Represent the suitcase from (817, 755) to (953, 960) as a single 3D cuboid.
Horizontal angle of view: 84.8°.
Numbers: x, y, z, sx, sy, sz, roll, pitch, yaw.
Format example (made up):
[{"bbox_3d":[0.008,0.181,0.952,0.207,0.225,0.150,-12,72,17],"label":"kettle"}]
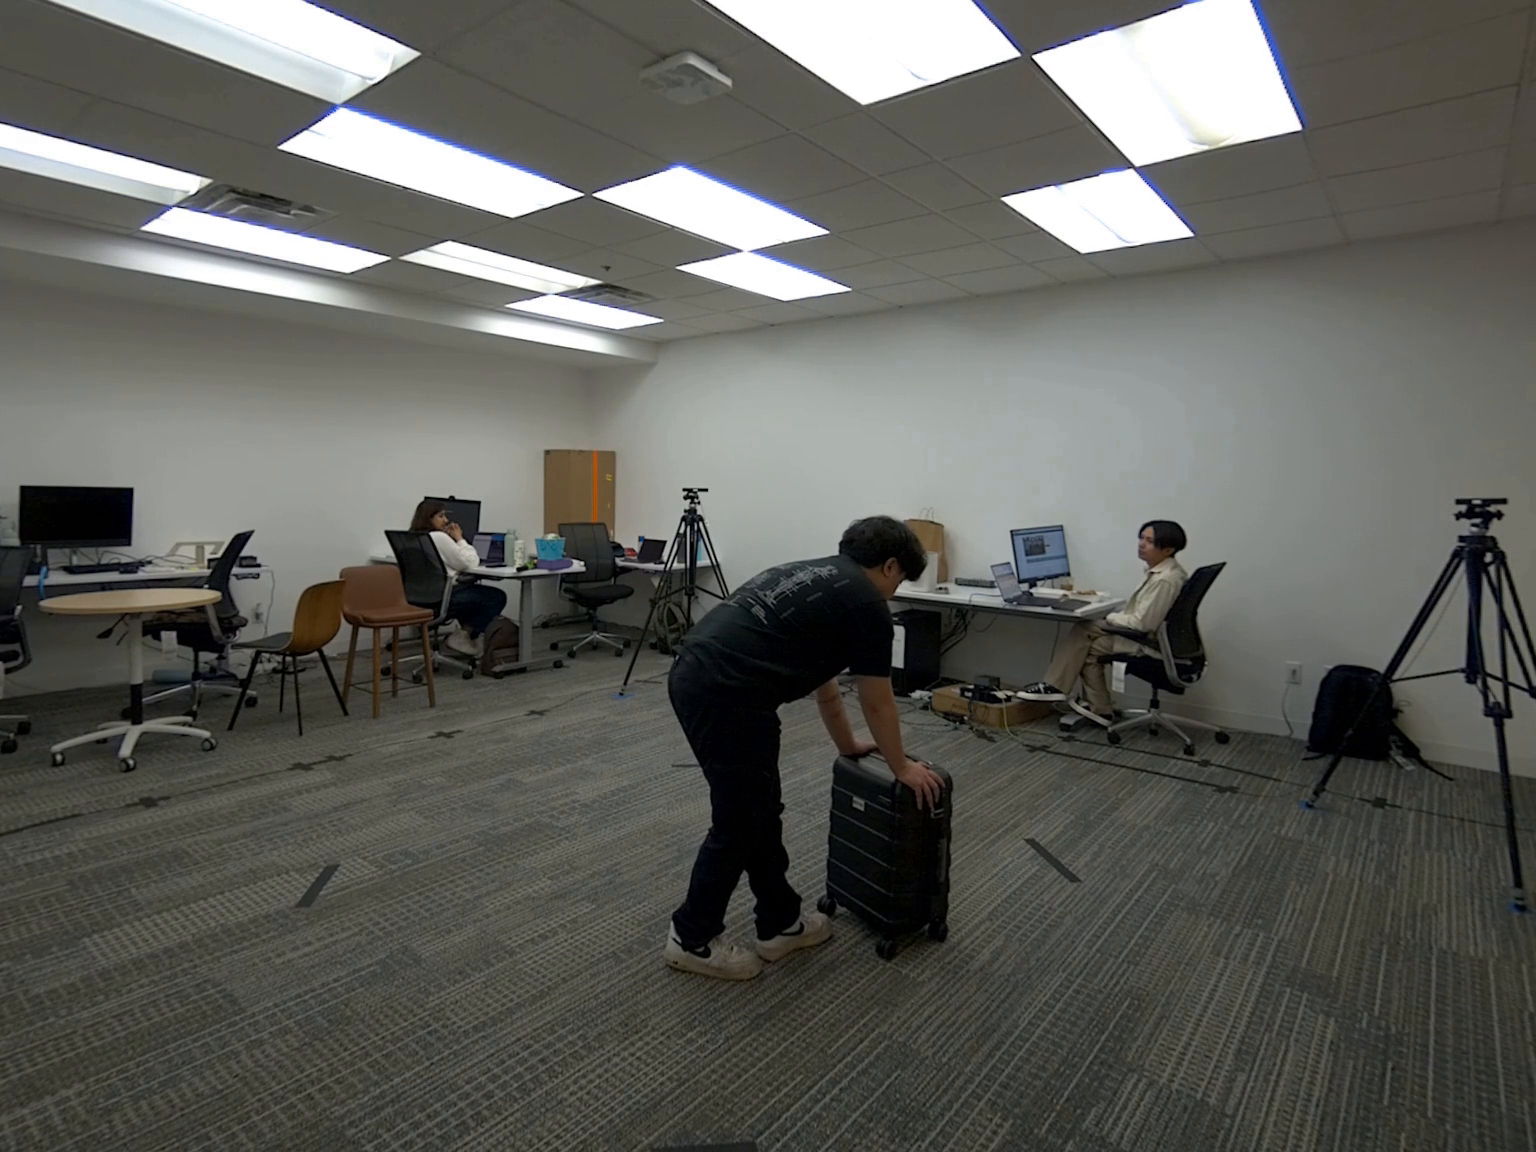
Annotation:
[{"bbox_3d":[0.385,0.844,2.736,0.241,0.549,0.387,1,2,-35],"label":"suitcase"}]
